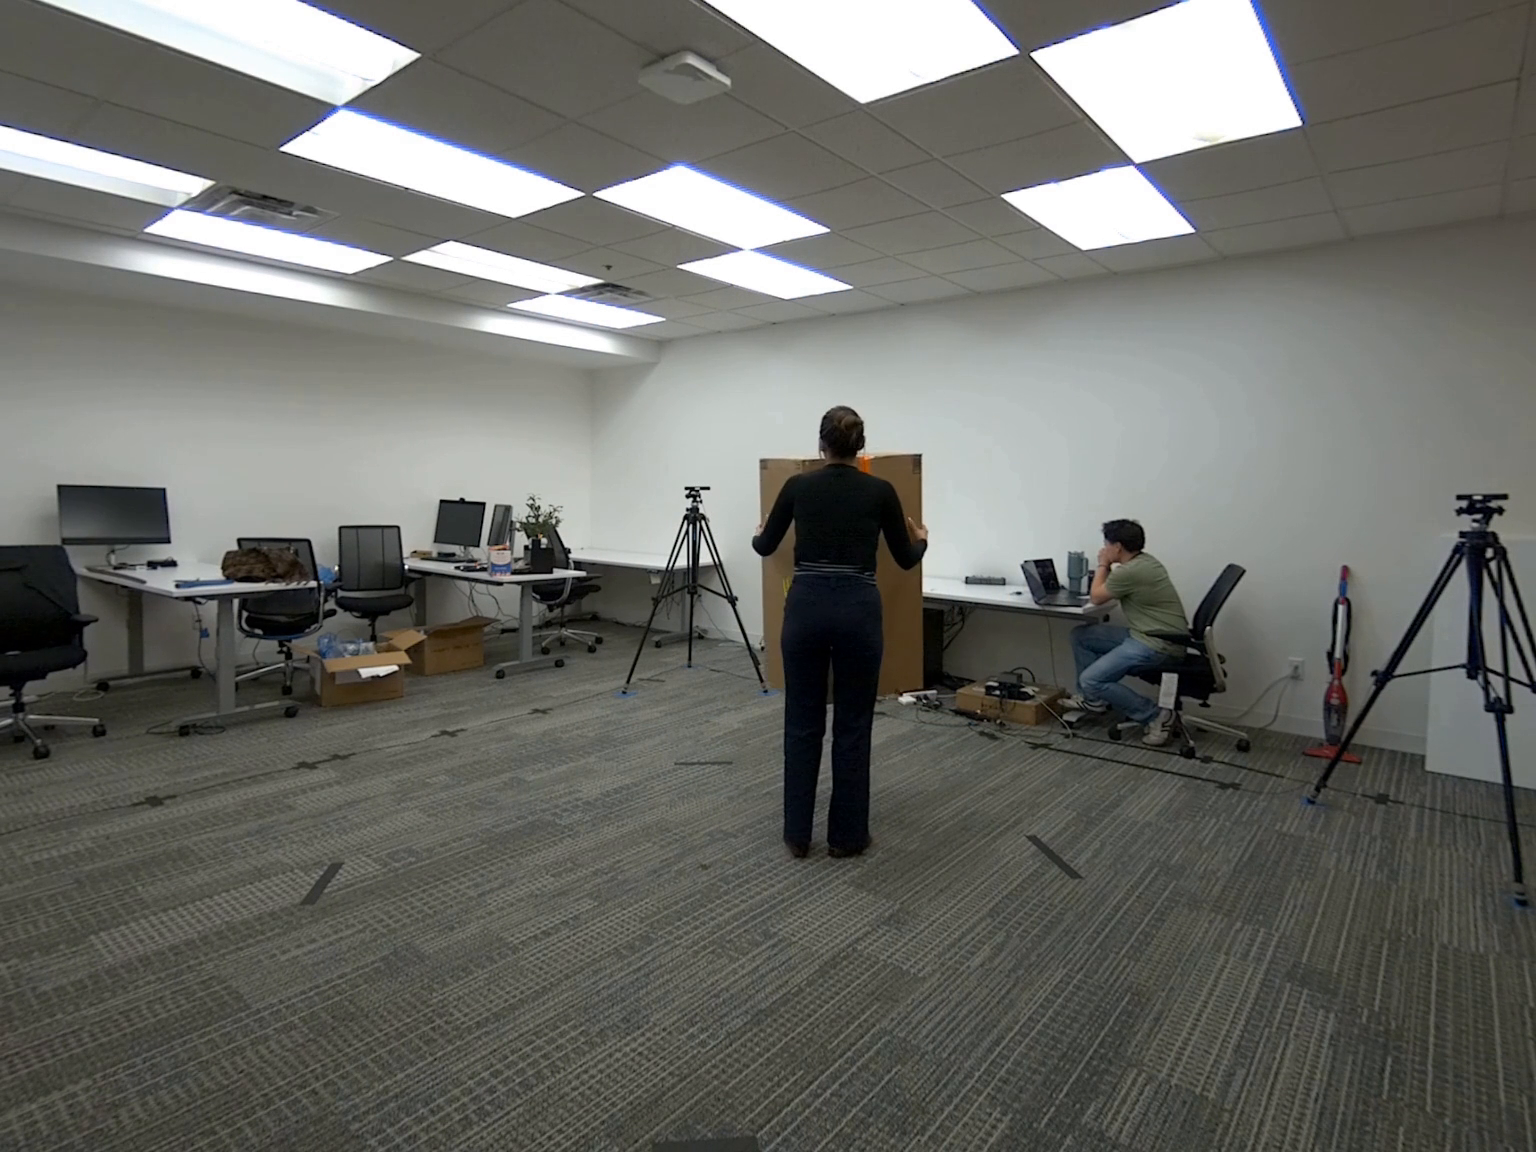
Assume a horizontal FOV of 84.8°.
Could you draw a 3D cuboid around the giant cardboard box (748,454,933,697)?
[{"bbox_3d":[0.319,-0.017,3.742,0.566,1.019,0.438,-5,8,-22],"label":"giant cardboard box"}]
